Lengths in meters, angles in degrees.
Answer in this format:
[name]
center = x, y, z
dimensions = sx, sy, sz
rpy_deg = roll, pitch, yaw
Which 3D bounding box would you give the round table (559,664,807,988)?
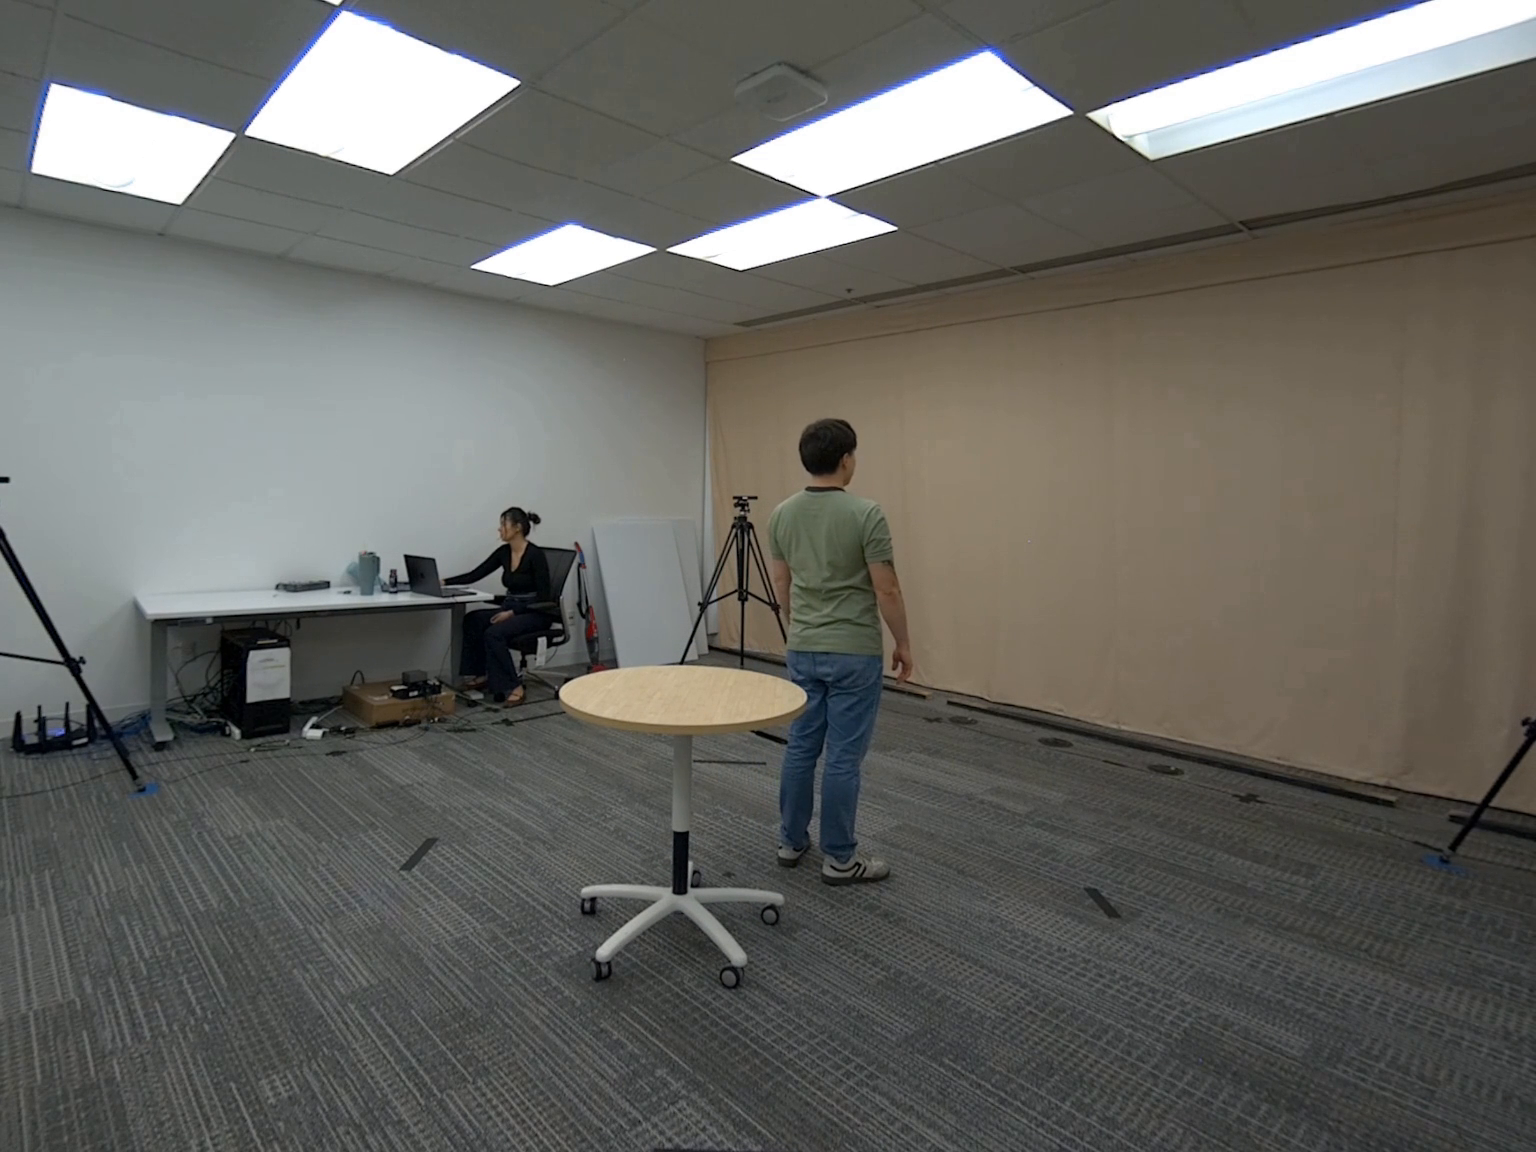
[round table]
center = -0.273, 0.753, 2.648
dimensions = 0.763, 0.791, 0.767
rpy_deg = 1, 5, -1
